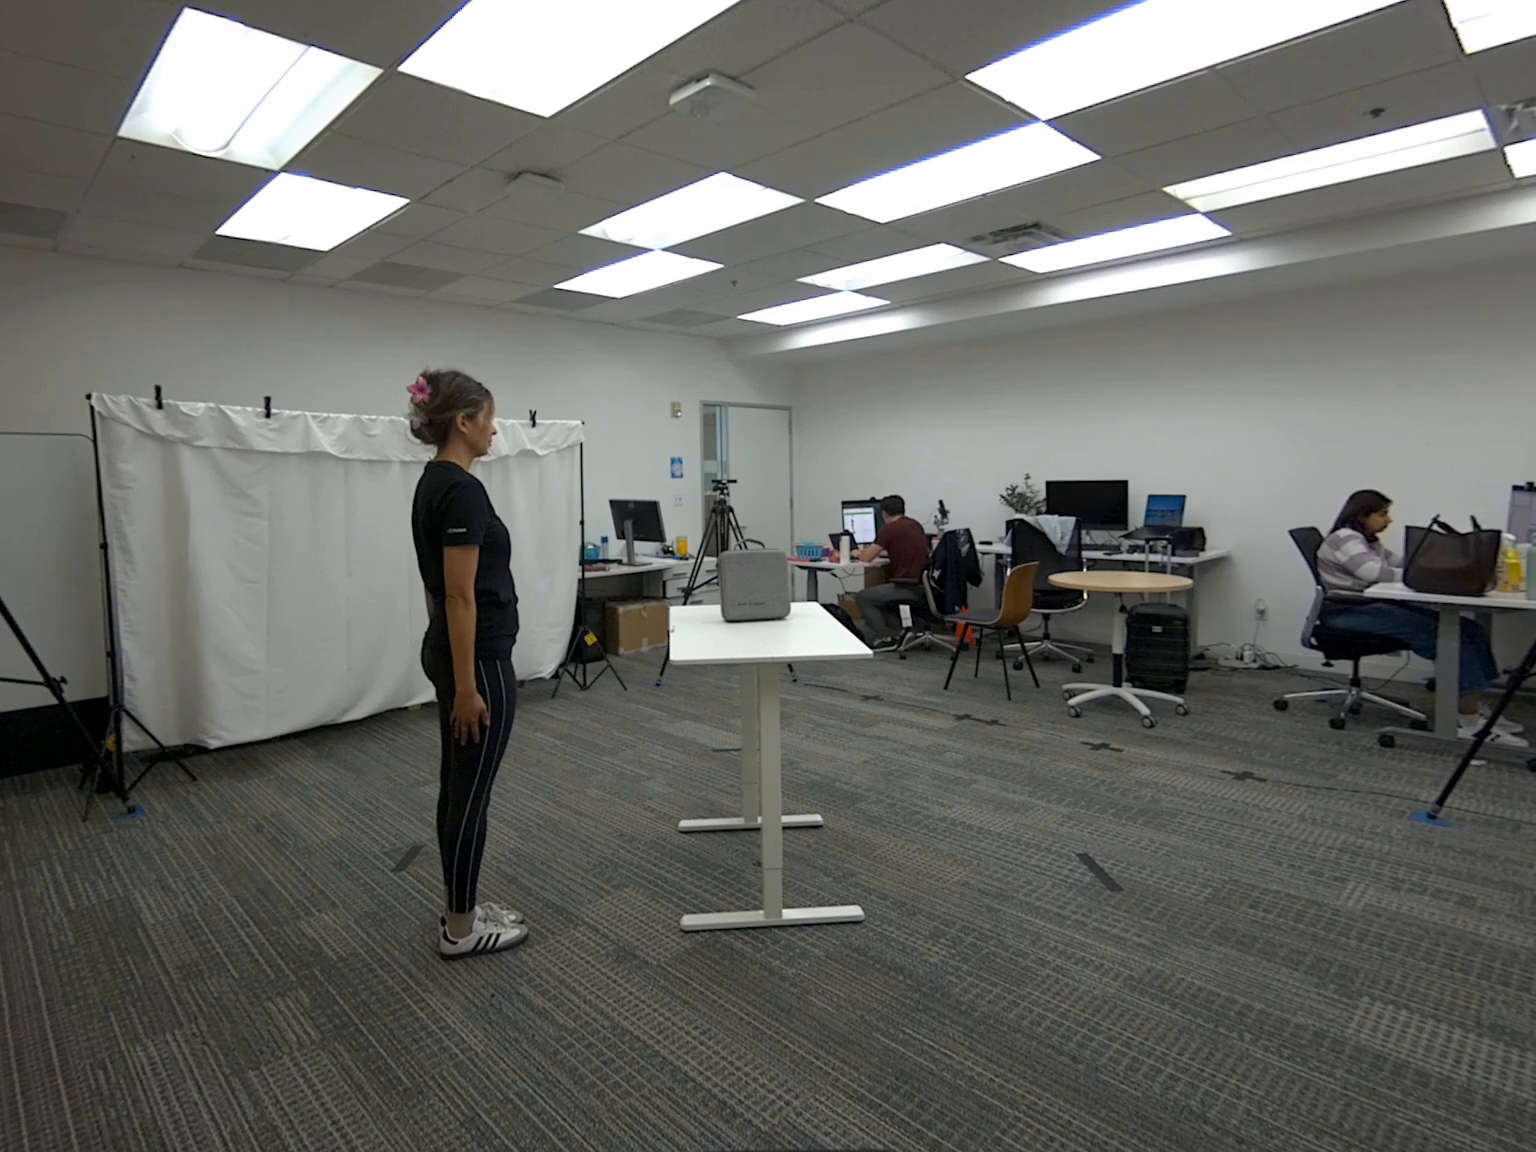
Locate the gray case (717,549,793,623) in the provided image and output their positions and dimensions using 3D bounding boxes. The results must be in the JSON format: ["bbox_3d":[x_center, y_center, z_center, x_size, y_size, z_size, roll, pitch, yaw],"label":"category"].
[{"bbox_3d":[-0.053,0.030,3.138,0.254,0.262,0.105,-2,-6,-12],"label":"gray case"}]
